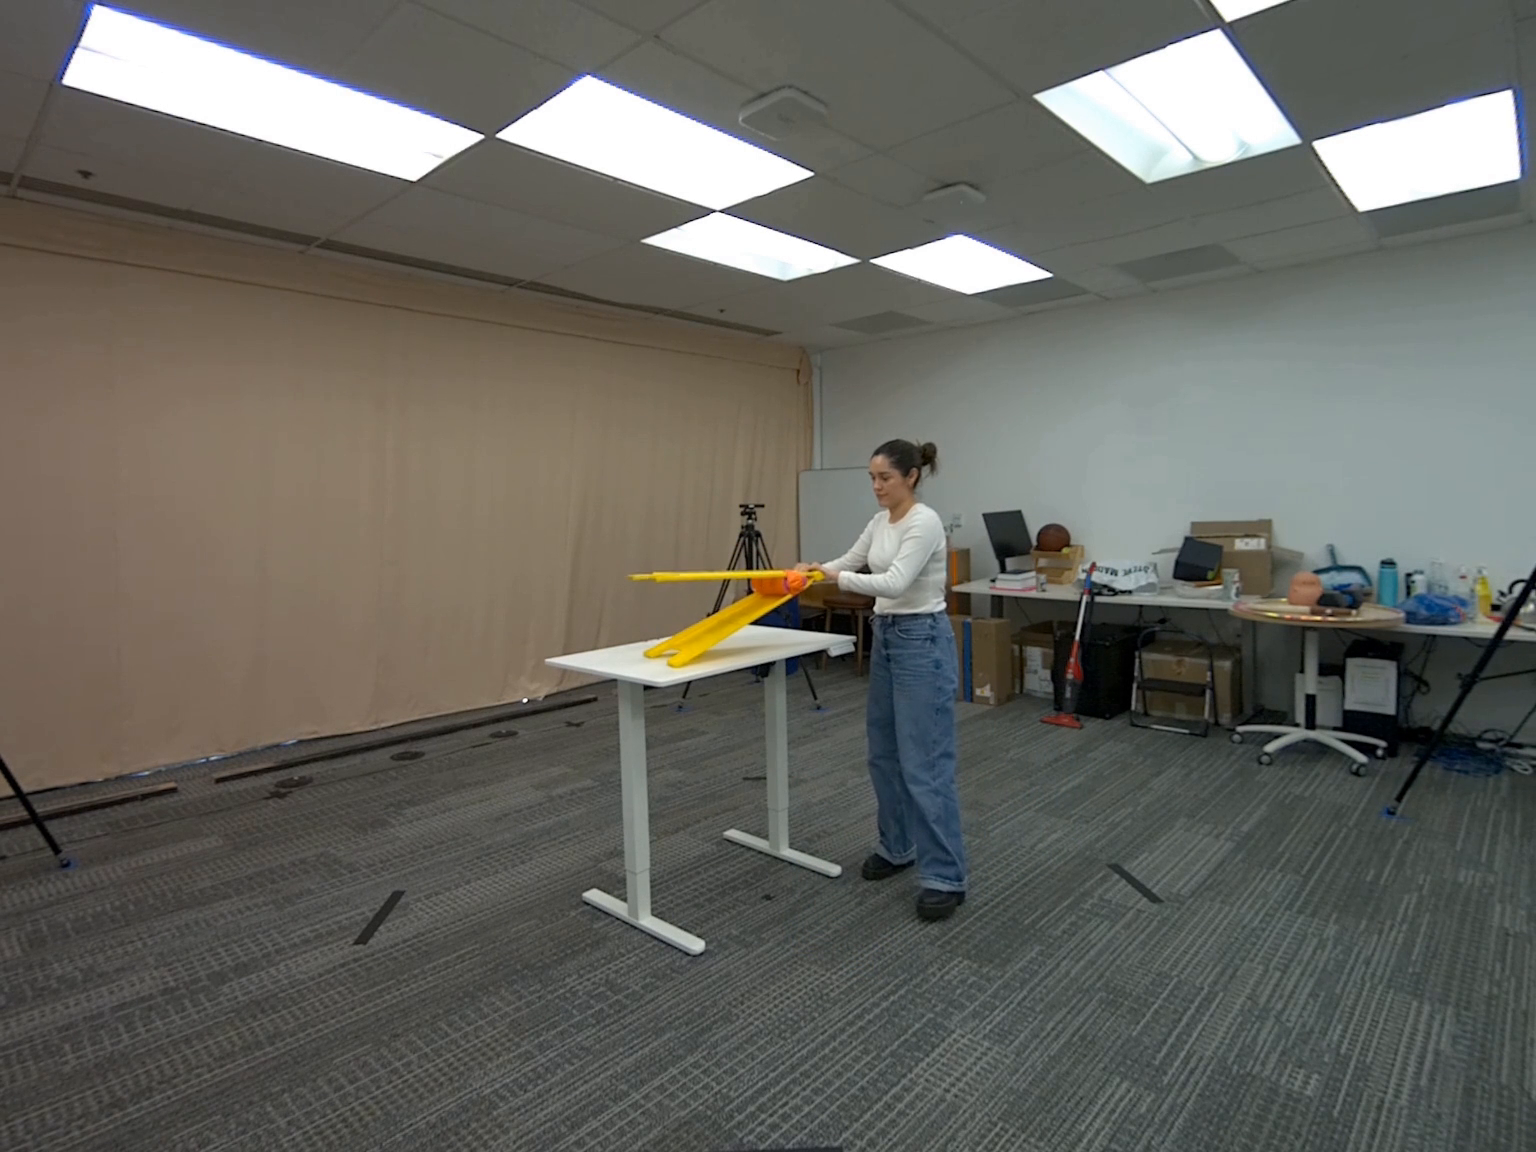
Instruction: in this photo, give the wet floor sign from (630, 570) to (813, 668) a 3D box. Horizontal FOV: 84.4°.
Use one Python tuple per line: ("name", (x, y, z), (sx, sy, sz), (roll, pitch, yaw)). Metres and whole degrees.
("wet floor sign", (-0.115, 0.078, 2.890), (0.633, 0.288, 0.290), (-16, 9, -26))
